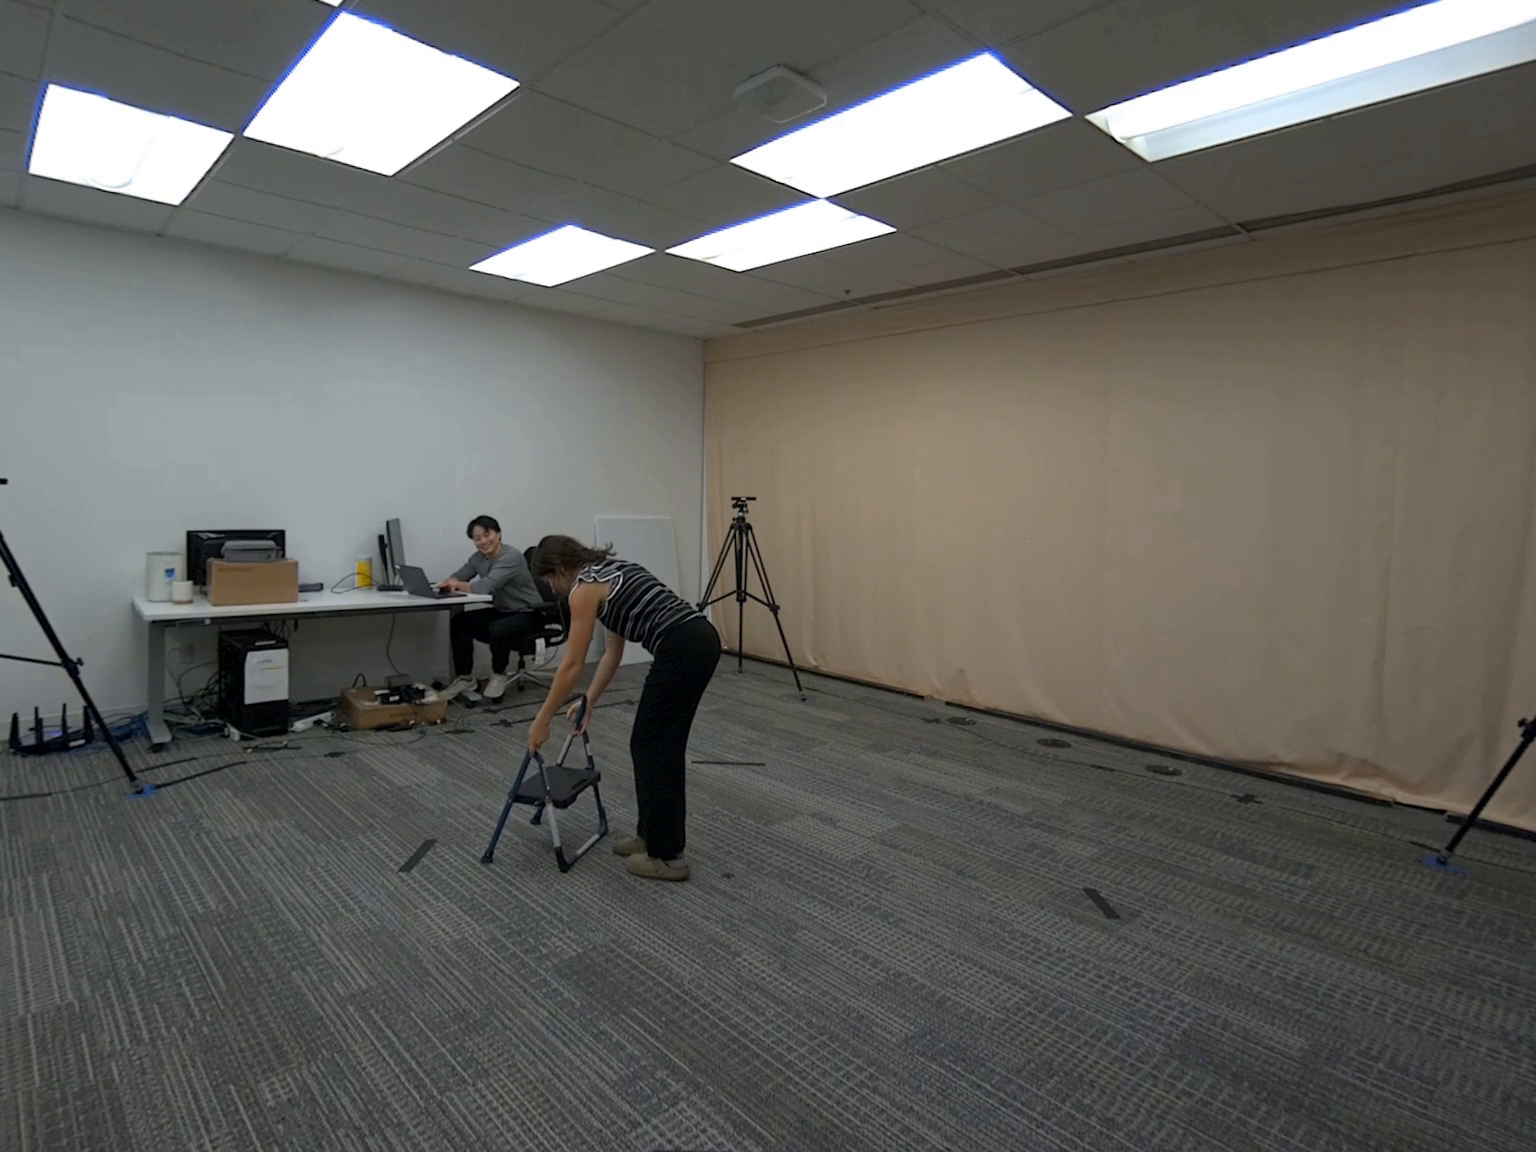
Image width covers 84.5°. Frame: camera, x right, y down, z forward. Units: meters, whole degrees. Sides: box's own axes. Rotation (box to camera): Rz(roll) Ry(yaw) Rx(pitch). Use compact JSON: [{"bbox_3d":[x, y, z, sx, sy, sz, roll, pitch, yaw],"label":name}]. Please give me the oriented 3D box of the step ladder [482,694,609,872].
[{"bbox_3d":[-0.865,0.760,3.316,0.353,0.604,0.427,3,4,13],"label":"step ladder"}]
